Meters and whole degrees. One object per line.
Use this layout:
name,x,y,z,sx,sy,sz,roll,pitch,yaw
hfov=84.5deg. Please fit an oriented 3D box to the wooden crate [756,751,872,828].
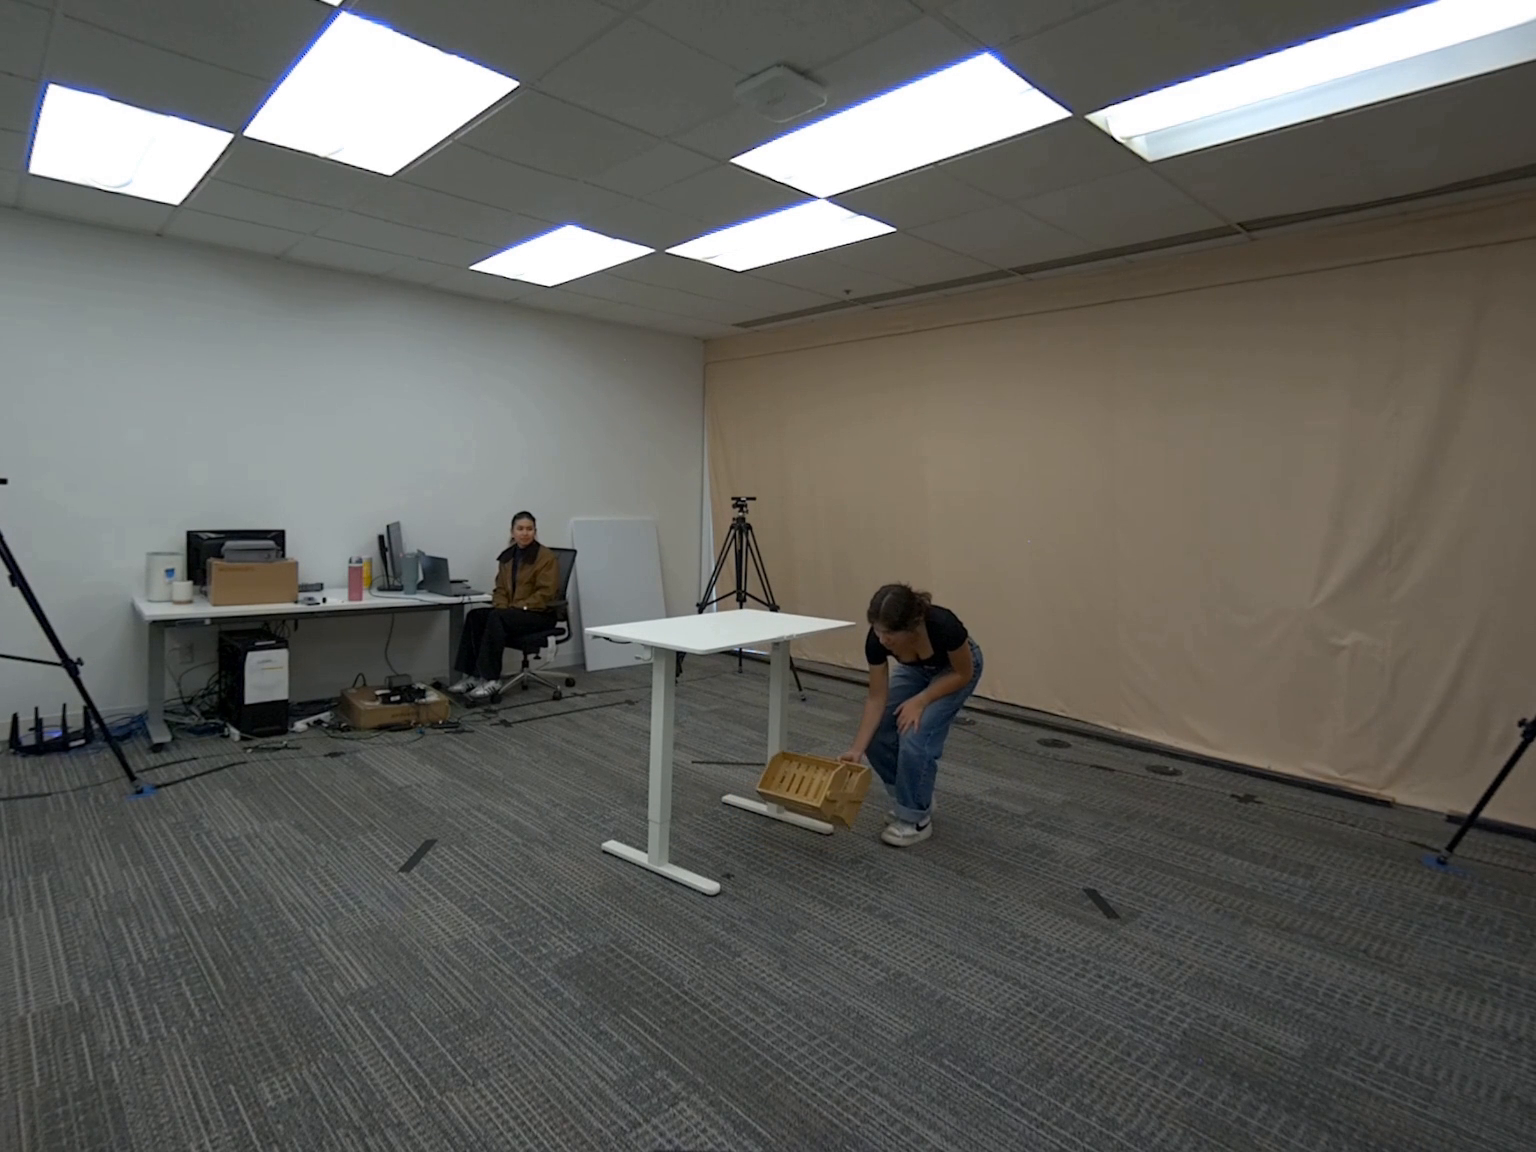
wooden crate,0.181,0.810,3.319,0.332,0.304,0.265,2,-41,39
